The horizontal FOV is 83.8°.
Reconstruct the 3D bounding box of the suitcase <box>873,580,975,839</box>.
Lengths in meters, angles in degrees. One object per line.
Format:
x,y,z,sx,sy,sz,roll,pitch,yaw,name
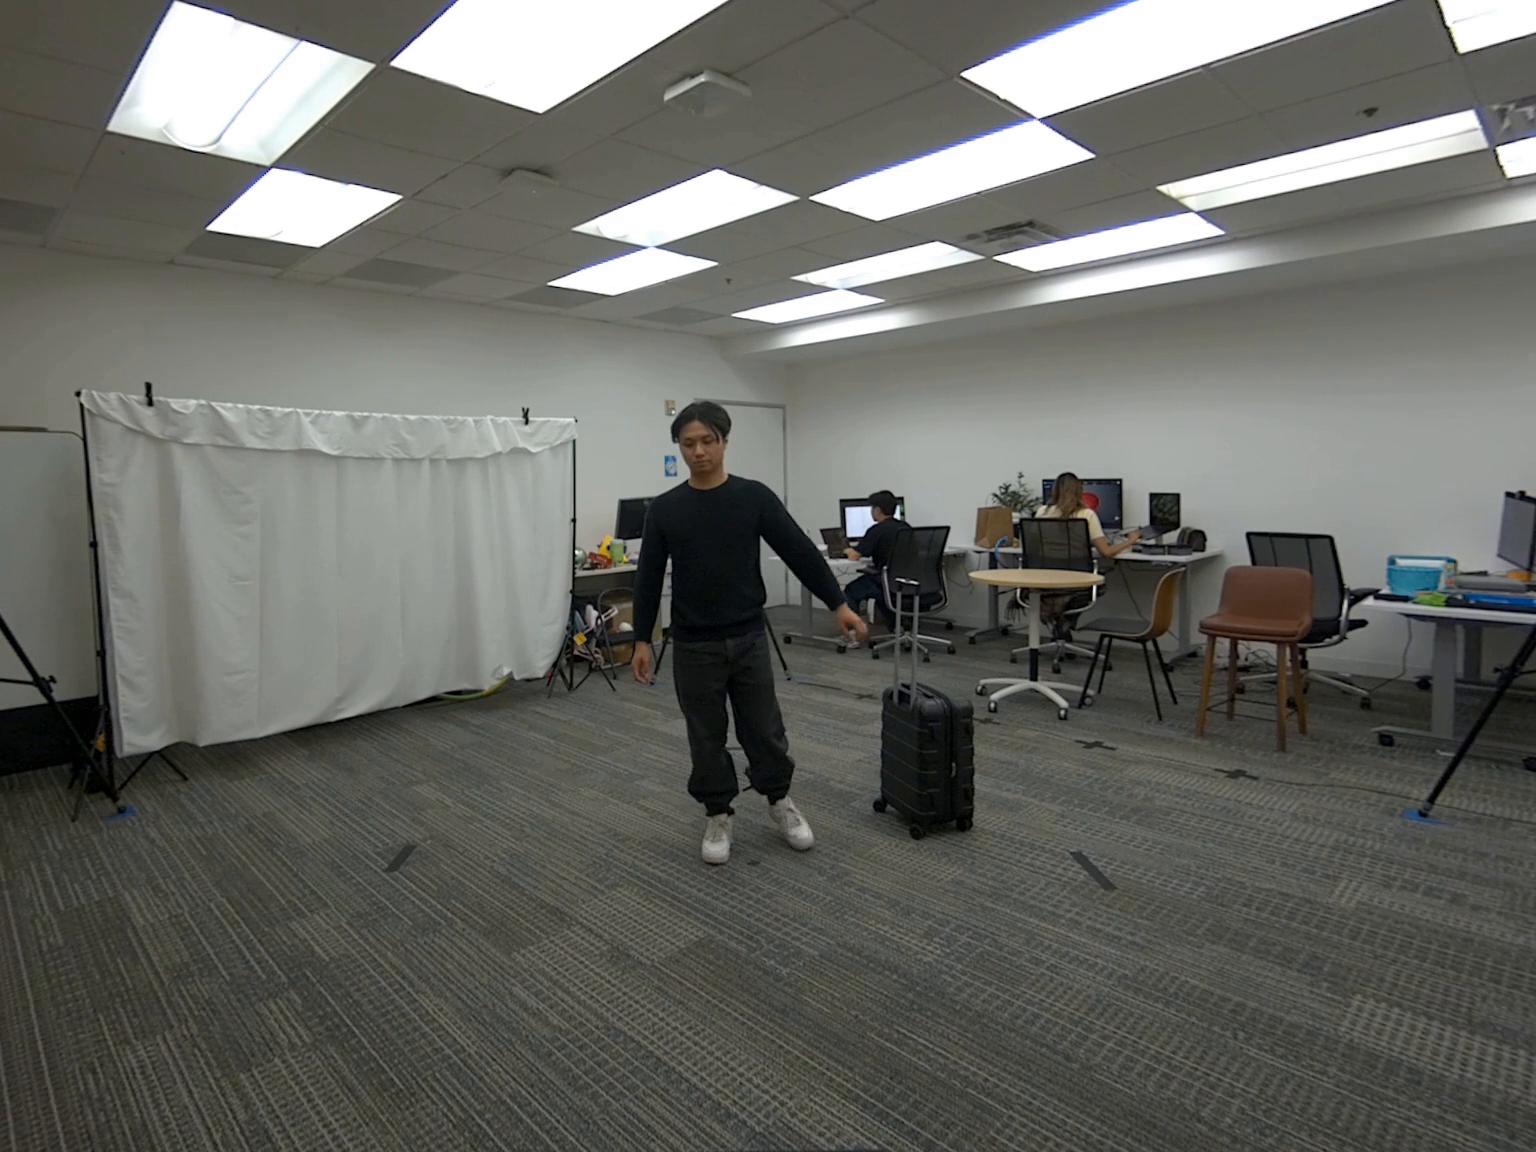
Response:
0.644,0.516,3.435,0.253,0.975,0.391,1,4,-17,suitcase
